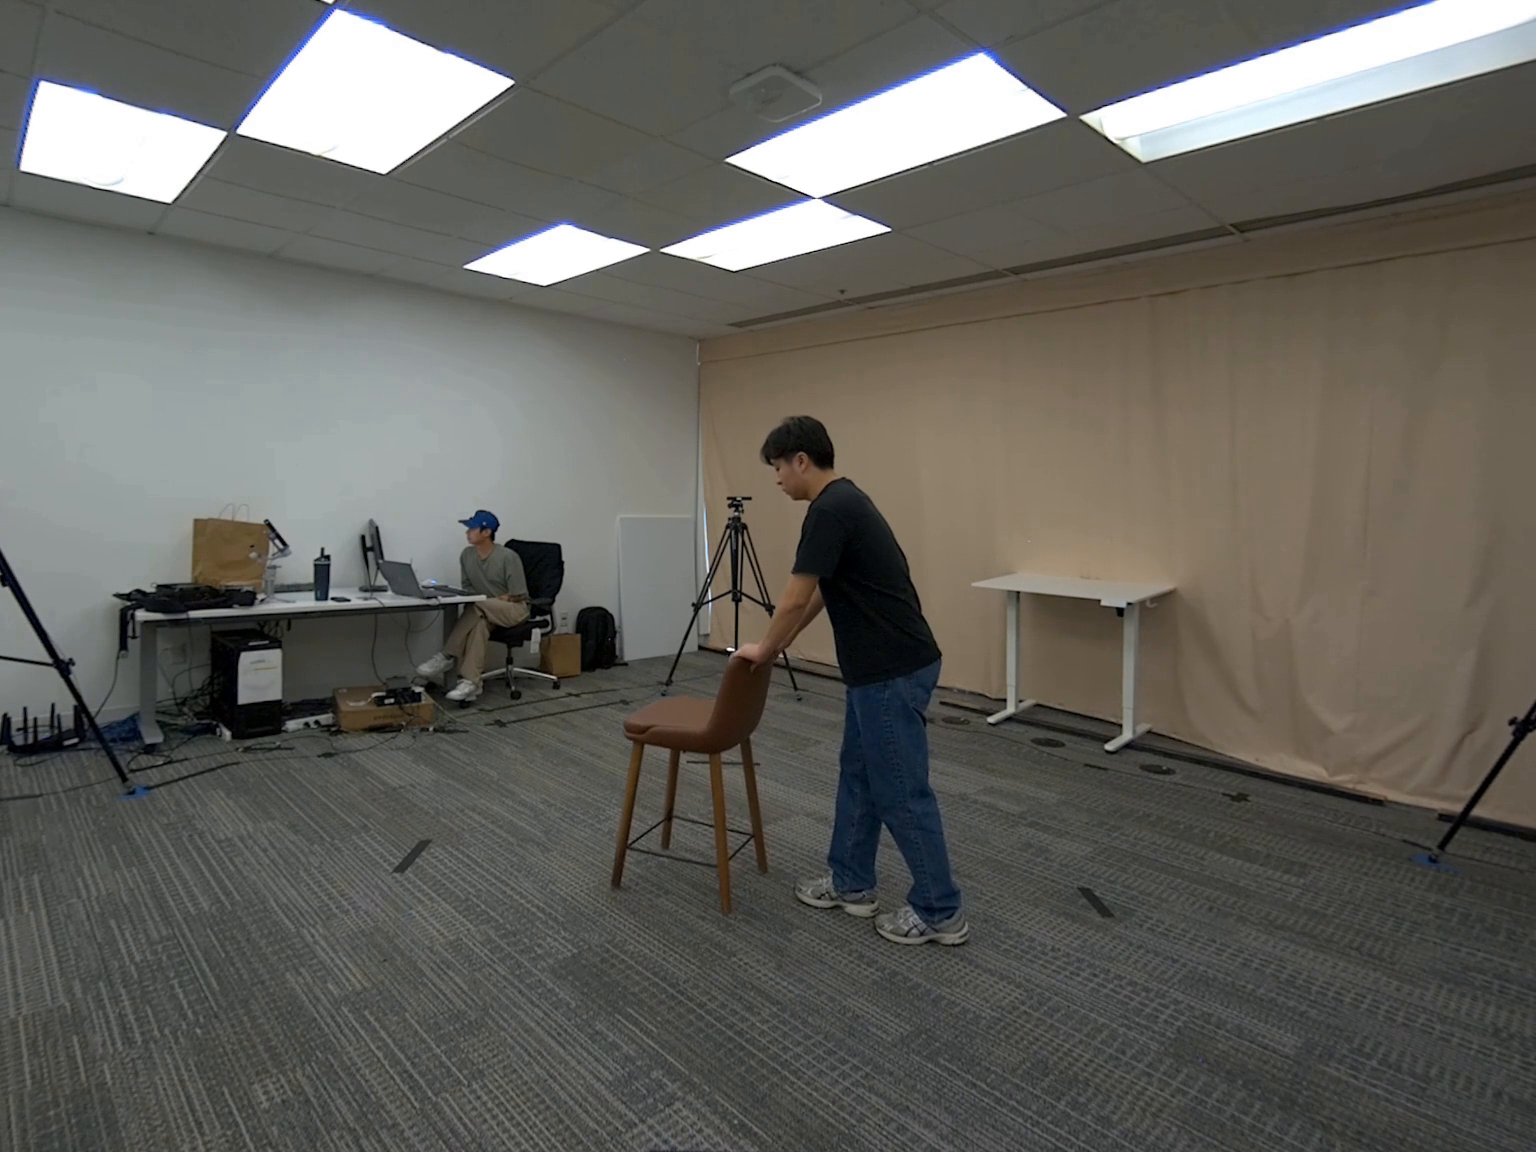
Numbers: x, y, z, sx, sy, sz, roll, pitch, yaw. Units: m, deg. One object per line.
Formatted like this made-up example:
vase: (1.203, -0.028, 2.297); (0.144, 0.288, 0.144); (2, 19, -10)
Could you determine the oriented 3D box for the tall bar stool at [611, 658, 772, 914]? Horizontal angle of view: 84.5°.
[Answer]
tall bar stool: (-0.253, 0.671, 3.045); (0.476, 0.887, 0.449); (6, 5, 23)
